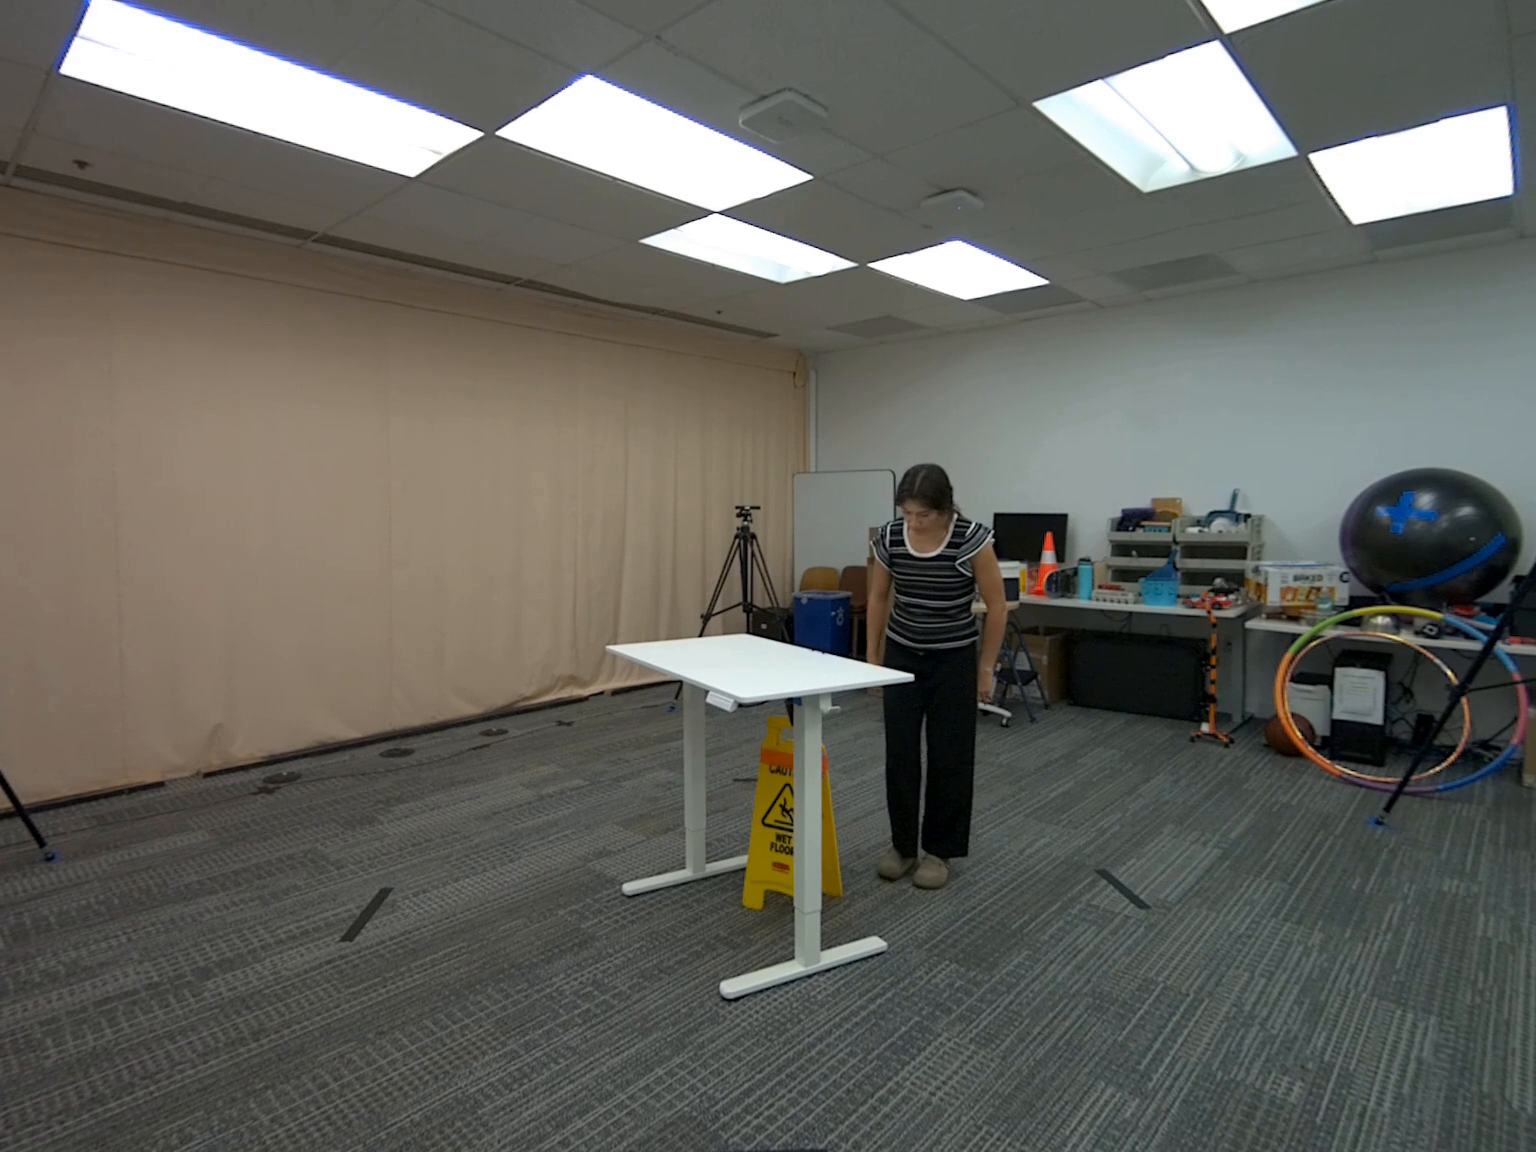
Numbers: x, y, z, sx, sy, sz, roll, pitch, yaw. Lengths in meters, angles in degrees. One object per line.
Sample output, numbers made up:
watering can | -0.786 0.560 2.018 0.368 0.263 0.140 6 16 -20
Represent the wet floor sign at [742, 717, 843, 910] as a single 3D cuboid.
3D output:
wet floor sign | 0.094 0.820 2.949 0.290 0.645 0.282 2 4 30
